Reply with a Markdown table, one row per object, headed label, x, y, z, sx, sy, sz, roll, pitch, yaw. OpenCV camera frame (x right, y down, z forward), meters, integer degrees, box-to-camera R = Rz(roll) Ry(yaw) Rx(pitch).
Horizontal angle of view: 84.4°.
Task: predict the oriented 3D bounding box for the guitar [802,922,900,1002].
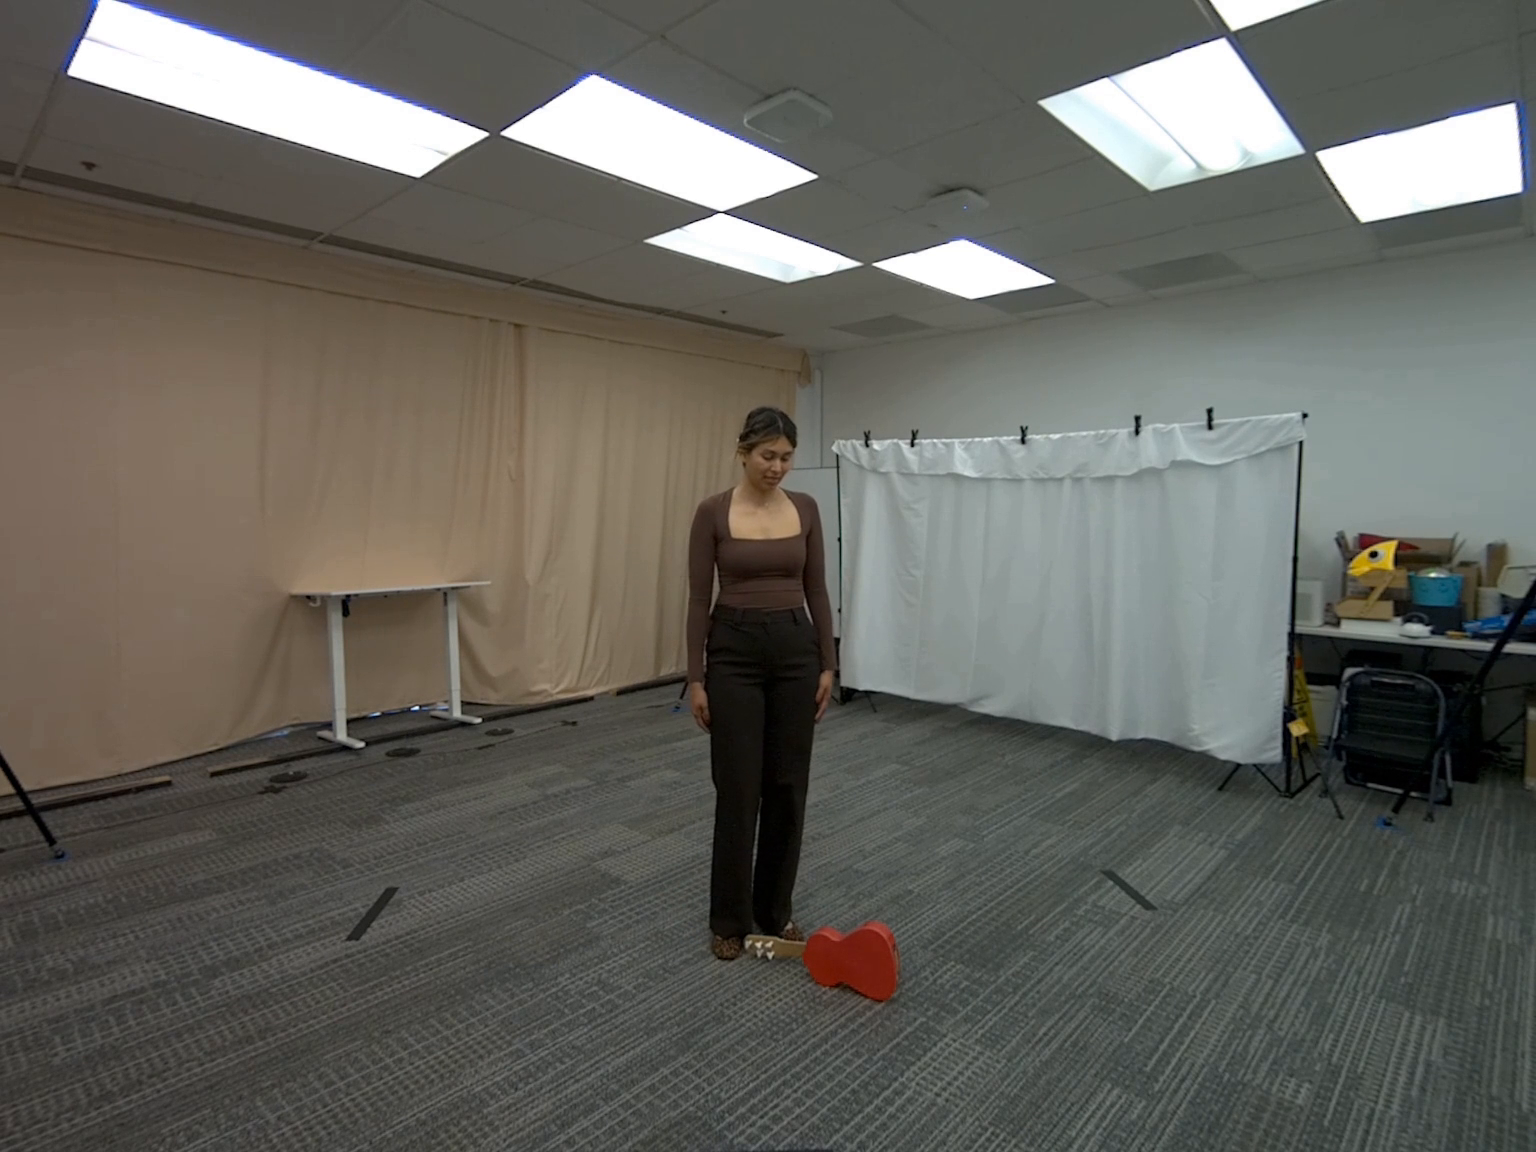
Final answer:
| label | x | y | z | sx | sy | sz | roll | pitch | yaw |
| --- | --- | --- | --- | --- | --- | --- | --- | --- | --- |
| guitar | 0.155 | 1.145 | 2.477 | 0.507 | 0.194 | 0.069 | -18 | -8 | 26 |
